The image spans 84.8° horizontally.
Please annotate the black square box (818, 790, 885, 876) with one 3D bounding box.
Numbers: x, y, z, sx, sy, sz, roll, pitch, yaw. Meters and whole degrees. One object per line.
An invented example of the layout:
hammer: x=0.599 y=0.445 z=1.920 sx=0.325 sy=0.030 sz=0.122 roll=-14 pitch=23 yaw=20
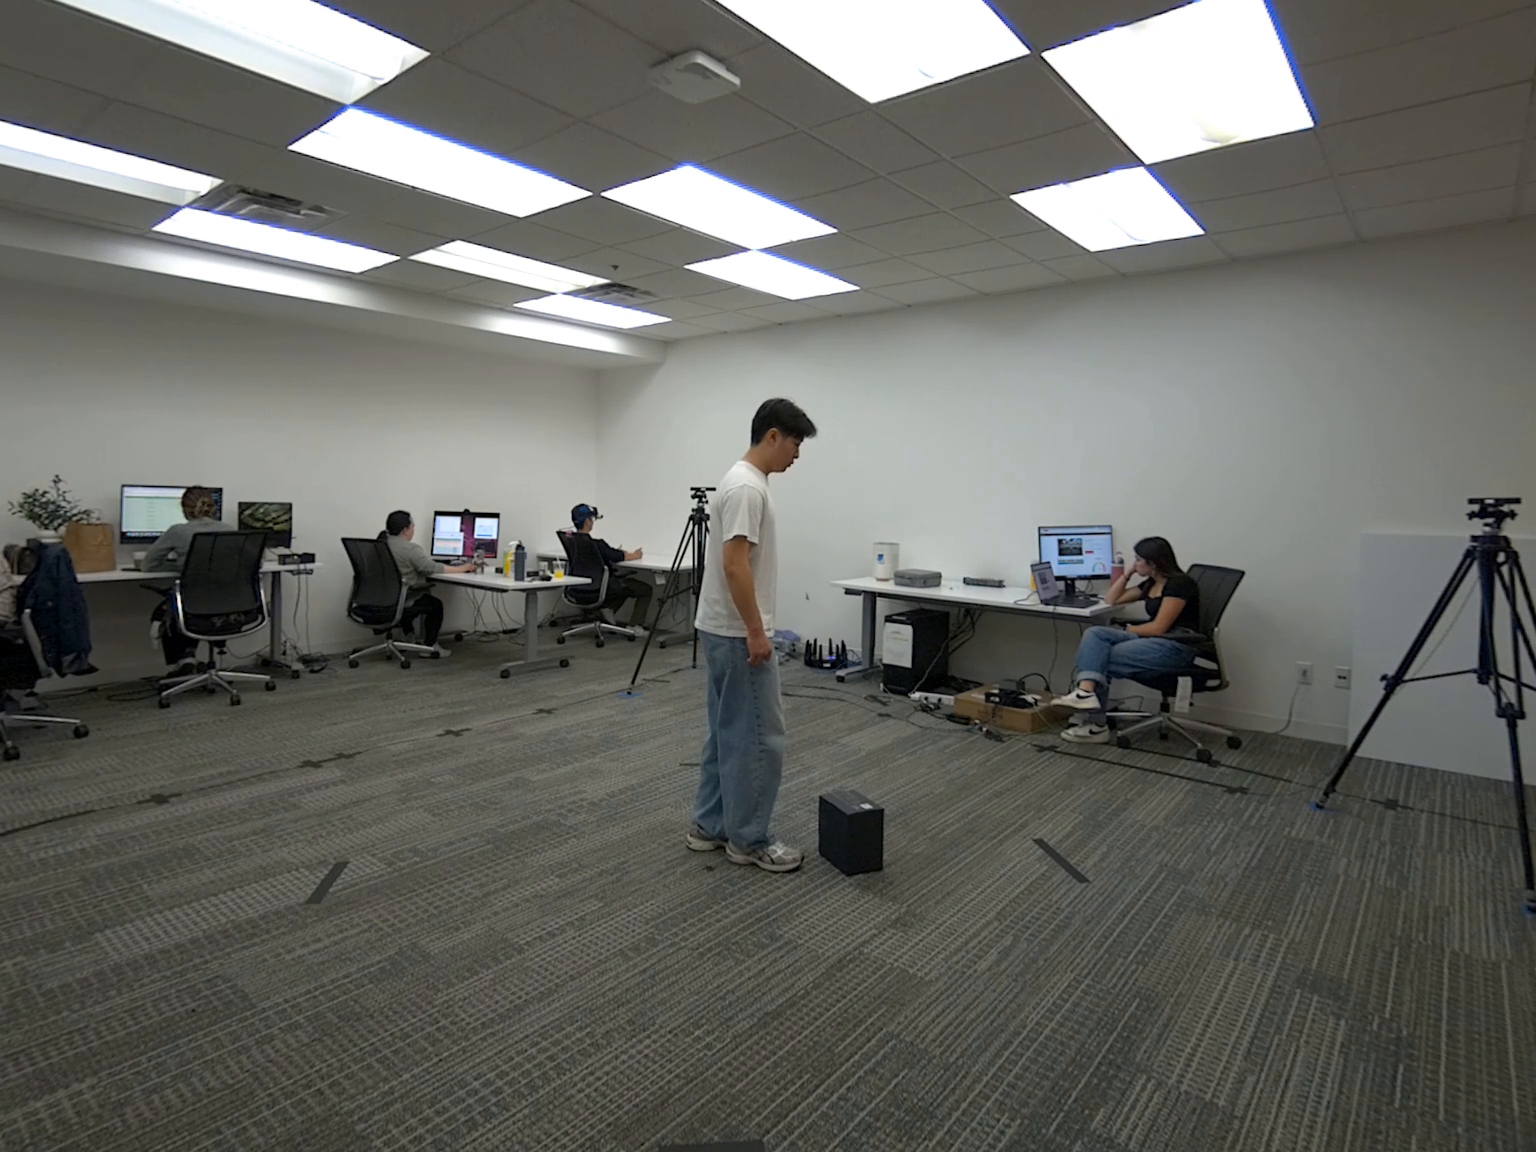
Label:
black square box: x=0.301 y=0.954 z=3.180 sx=0.152 sy=0.227 sz=0.223 roll=-1 pitch=5 yaw=-25
